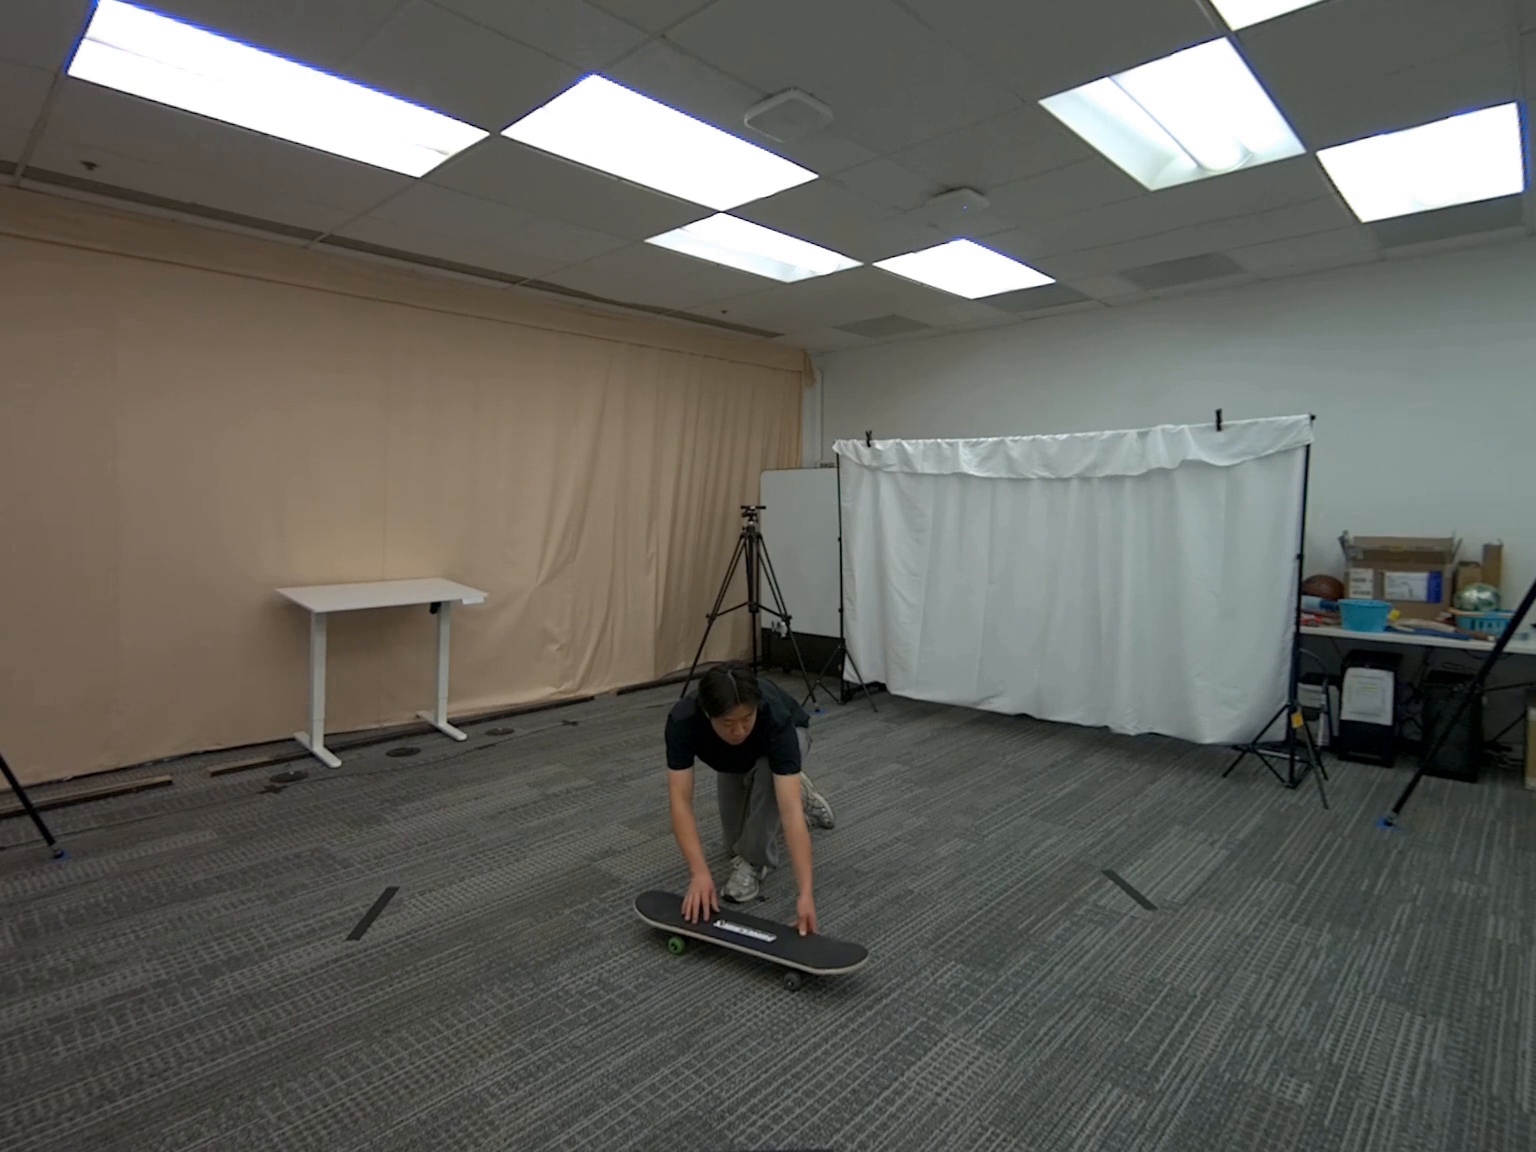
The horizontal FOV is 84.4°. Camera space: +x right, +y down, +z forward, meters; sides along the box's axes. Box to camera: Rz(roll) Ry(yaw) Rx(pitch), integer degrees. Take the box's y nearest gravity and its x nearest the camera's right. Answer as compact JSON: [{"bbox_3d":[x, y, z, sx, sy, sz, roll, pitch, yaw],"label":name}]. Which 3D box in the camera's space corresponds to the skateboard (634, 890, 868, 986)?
[{"bbox_3d":[-0.065,1.112,2.590,0.807,0.110,0.188,2,4,28],"label":"skateboard"}]
